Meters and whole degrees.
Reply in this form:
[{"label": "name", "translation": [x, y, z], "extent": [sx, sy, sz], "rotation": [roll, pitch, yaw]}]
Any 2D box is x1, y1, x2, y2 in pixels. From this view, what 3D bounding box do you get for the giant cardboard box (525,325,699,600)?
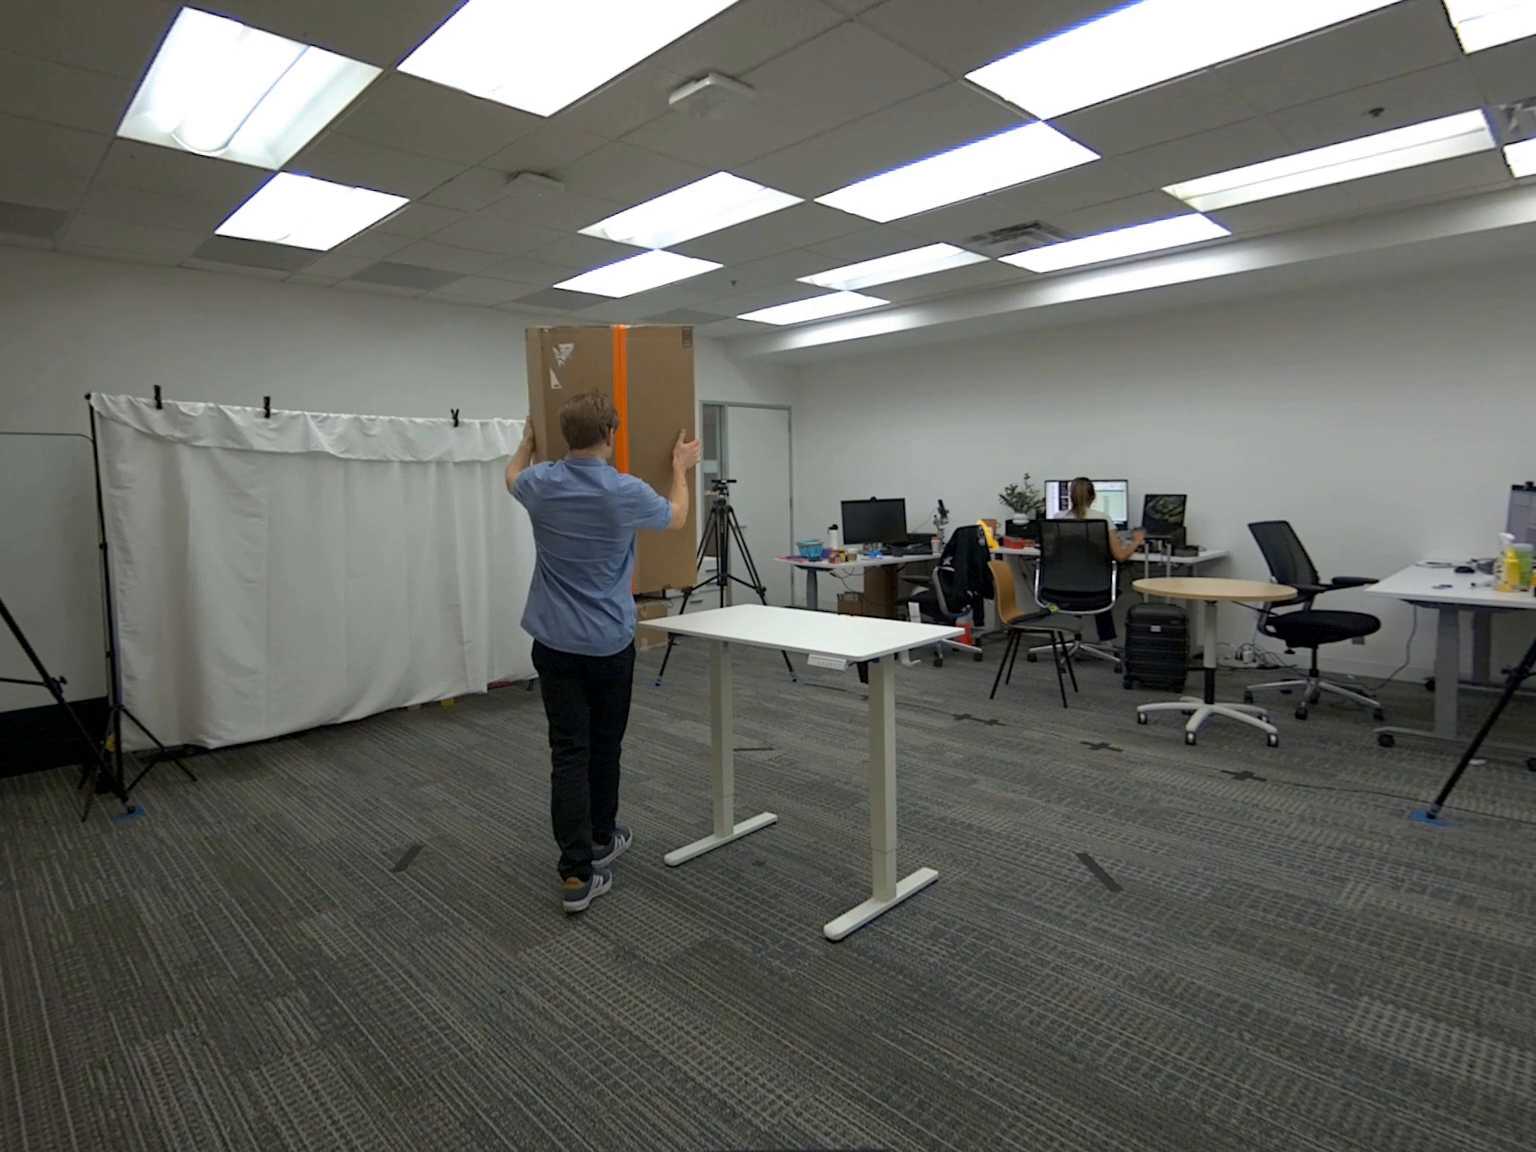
[{"label": "giant cardboard box", "translation": [-0.620, -0.467, 3.406], "extent": [0.568, 1.013, 0.439], "rotation": [-6, 14, -21]}]
